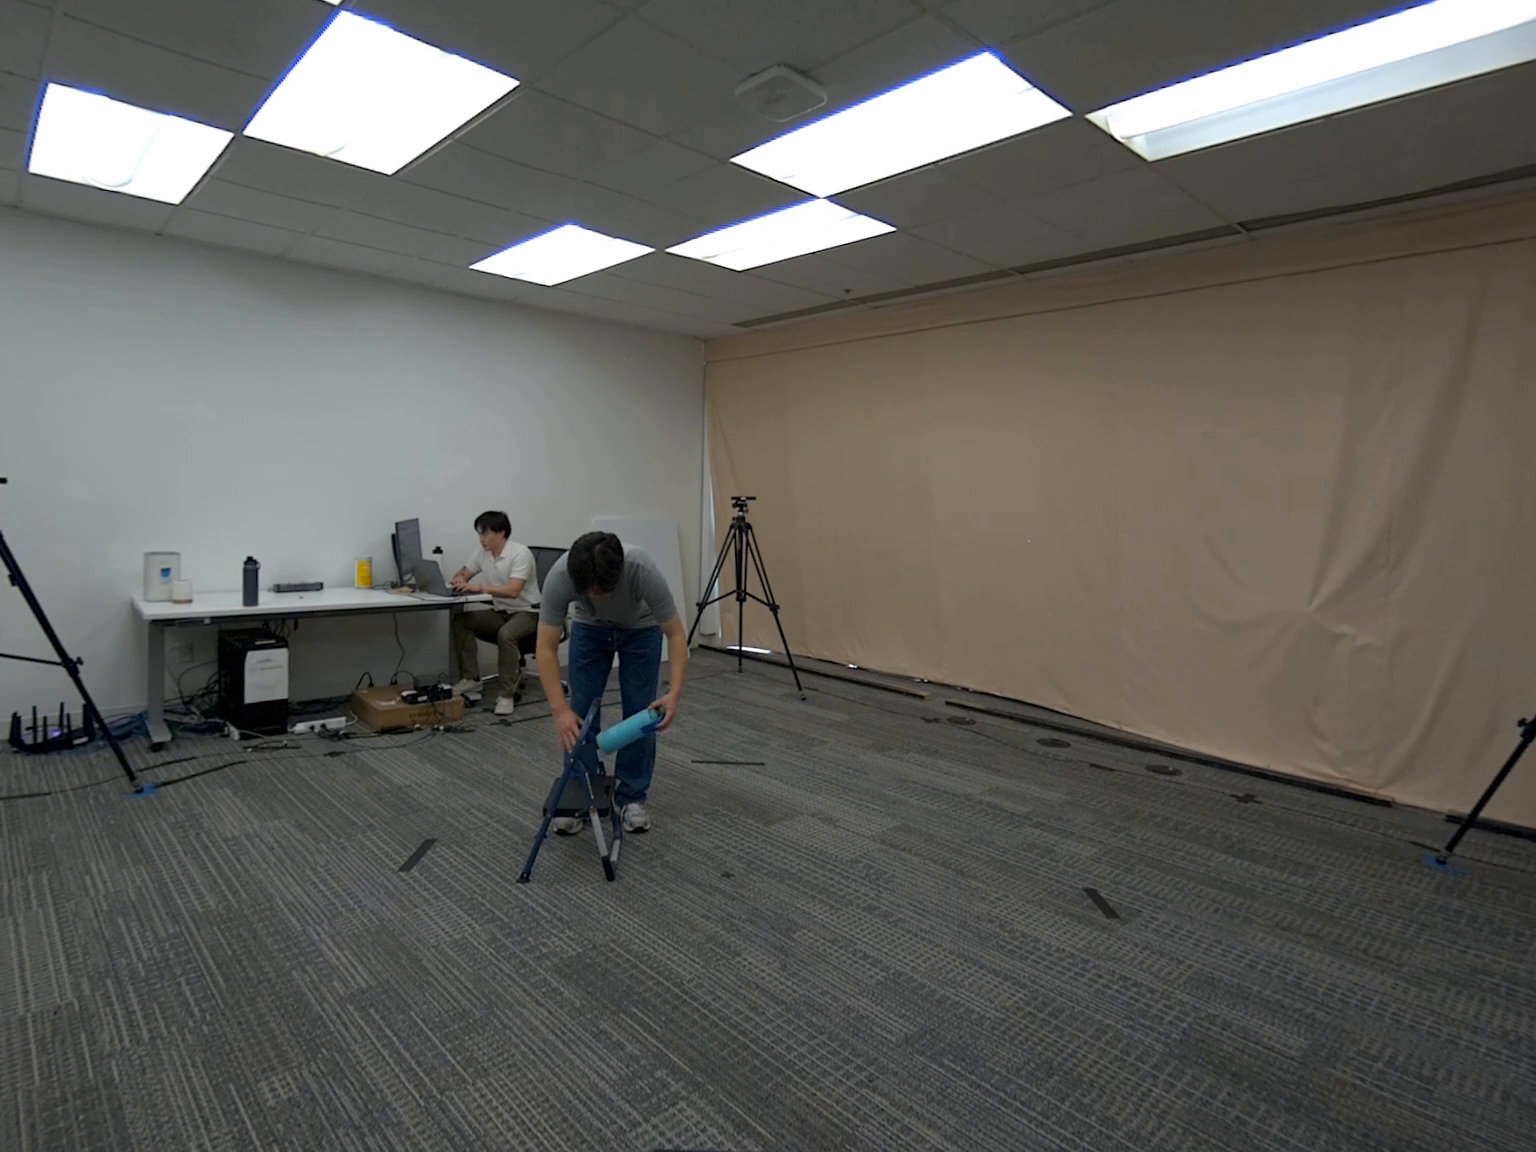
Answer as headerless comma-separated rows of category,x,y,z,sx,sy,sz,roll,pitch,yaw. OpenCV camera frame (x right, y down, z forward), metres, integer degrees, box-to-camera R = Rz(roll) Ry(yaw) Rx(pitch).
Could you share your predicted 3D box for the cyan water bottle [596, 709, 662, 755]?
cyan water bottle,-0.512,0.577,3.243,0.284,0.092,0.092,-27,0,8
